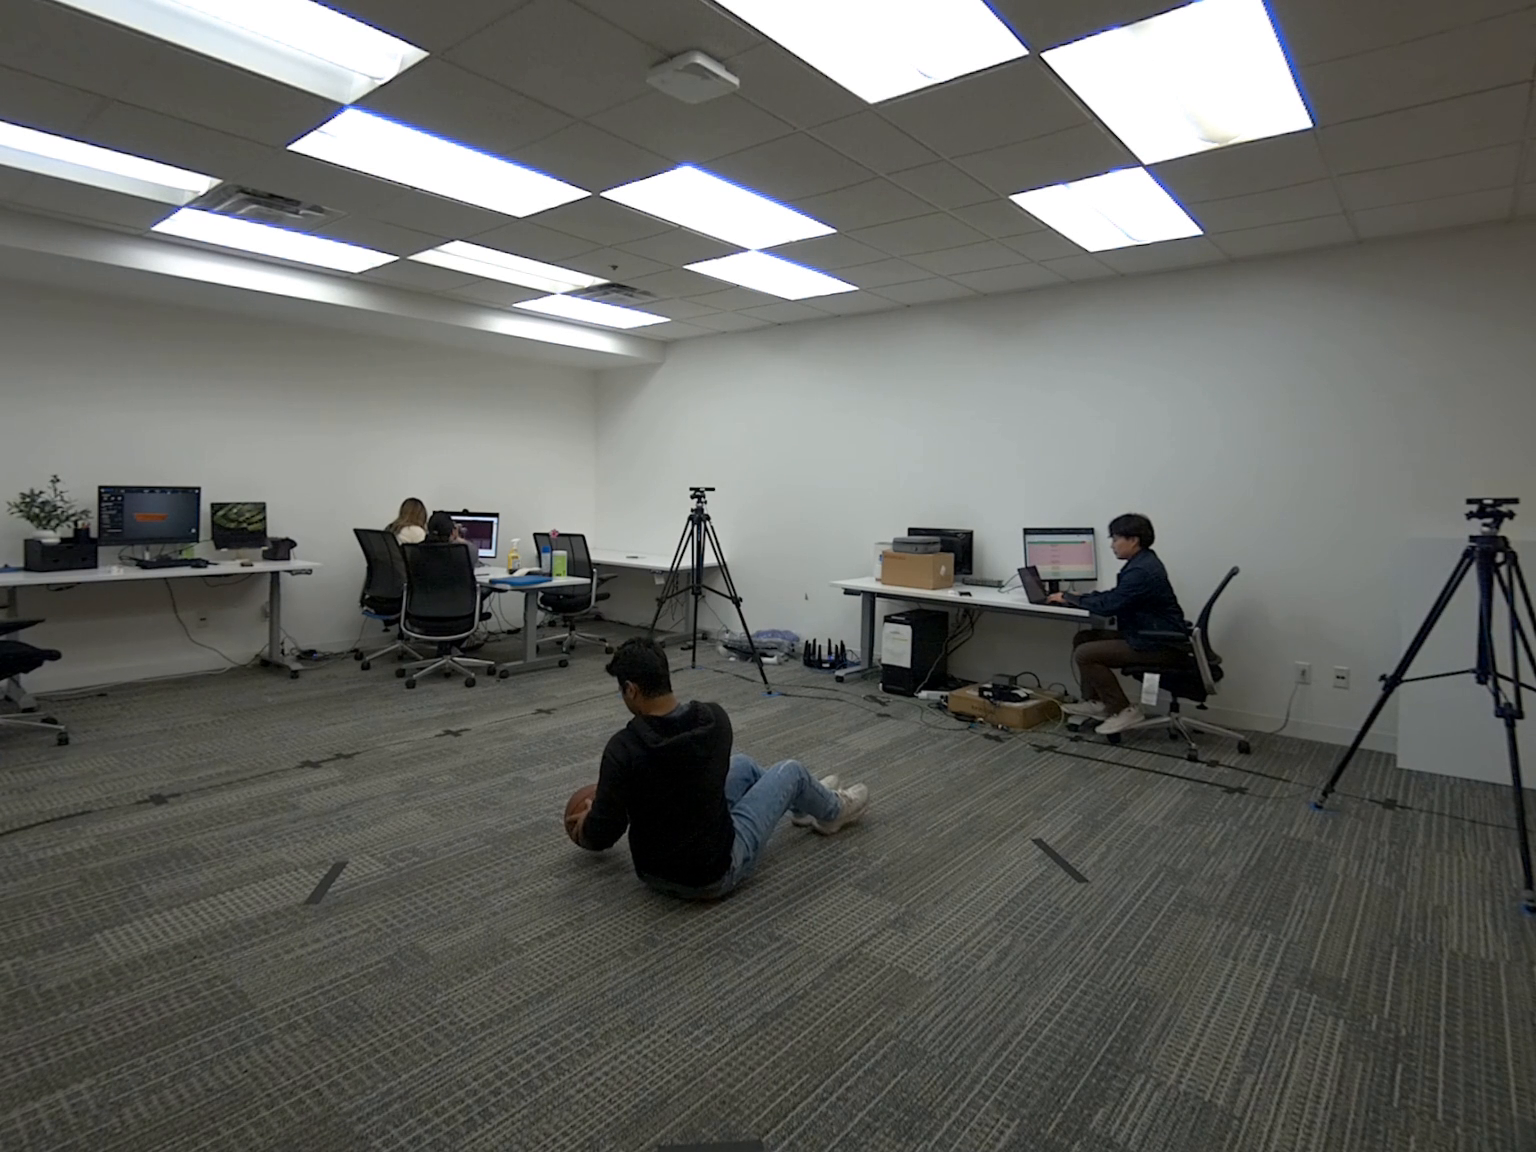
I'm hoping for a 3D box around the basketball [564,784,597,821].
[{"bbox_3d":[-0.652,0.888,3.198,0.235,0.235,0.237,1,4,-2],"label":"basketball"}]
